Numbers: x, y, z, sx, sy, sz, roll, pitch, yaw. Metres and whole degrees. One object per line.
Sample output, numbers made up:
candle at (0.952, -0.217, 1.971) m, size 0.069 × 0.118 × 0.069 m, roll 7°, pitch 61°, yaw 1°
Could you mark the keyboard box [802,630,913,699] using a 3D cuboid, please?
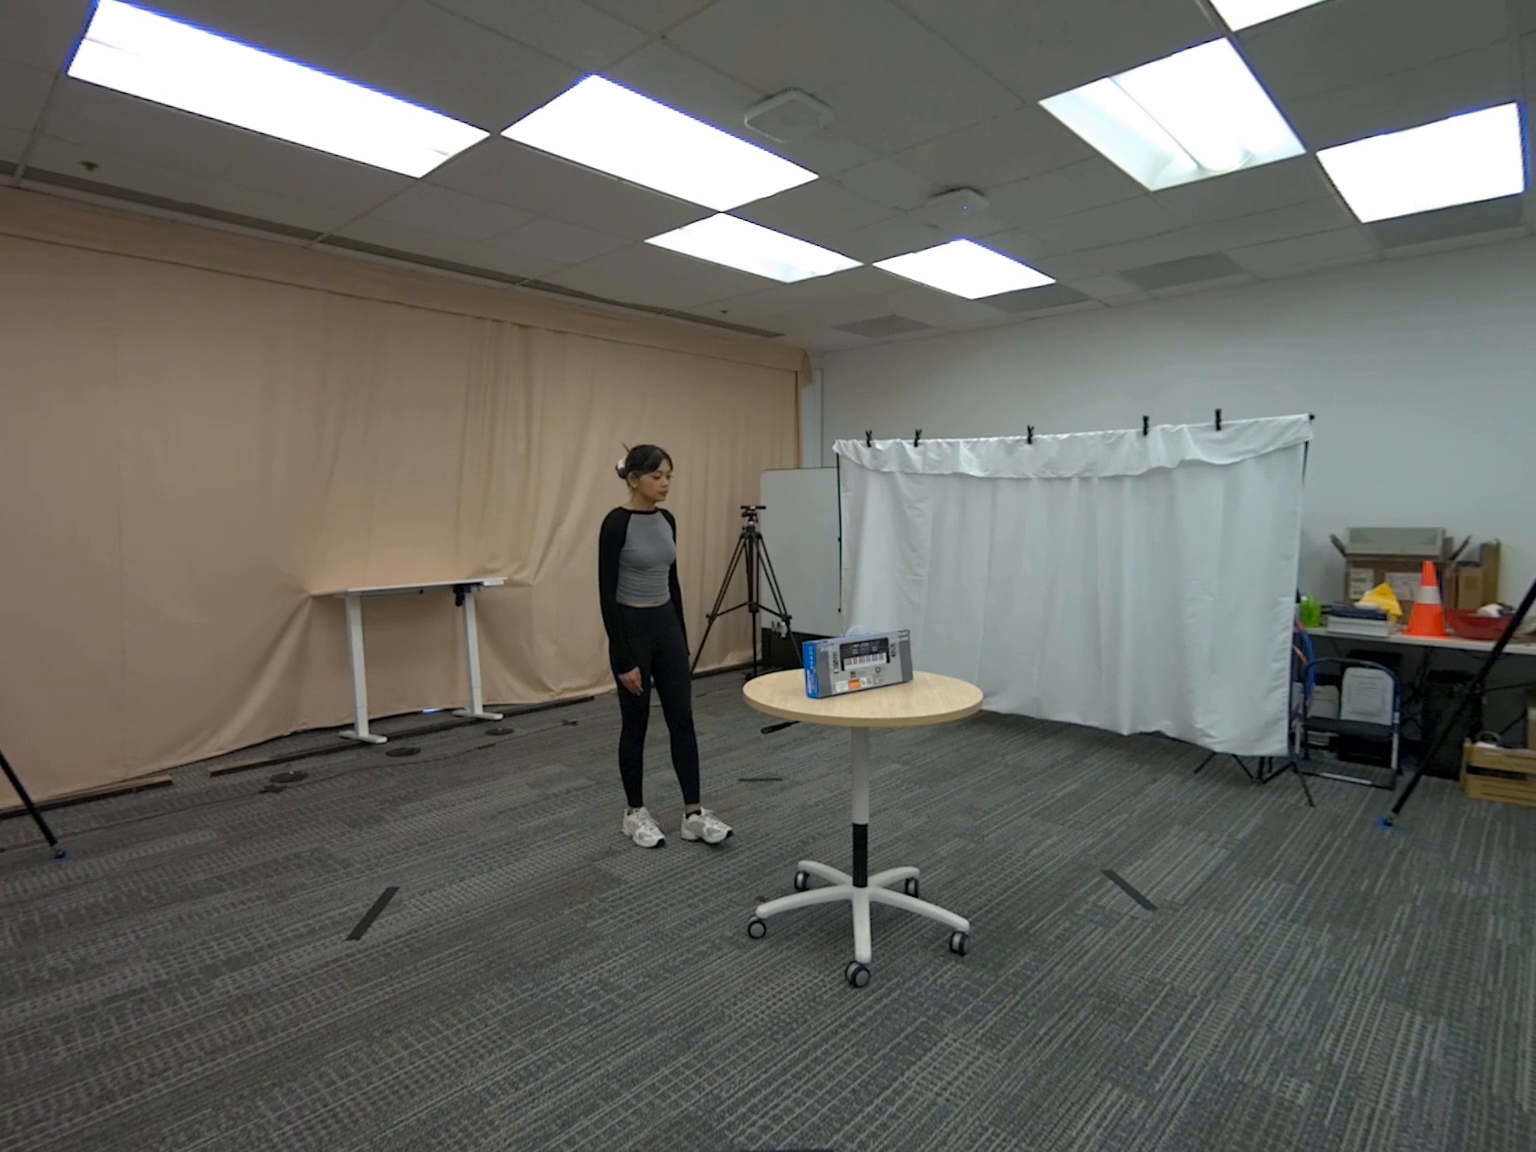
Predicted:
keyboard box at (0.305, 0.284, 2.745) m, size 0.424 × 0.176 × 0.061 m, roll -3°, pitch -2°, yaw -36°
